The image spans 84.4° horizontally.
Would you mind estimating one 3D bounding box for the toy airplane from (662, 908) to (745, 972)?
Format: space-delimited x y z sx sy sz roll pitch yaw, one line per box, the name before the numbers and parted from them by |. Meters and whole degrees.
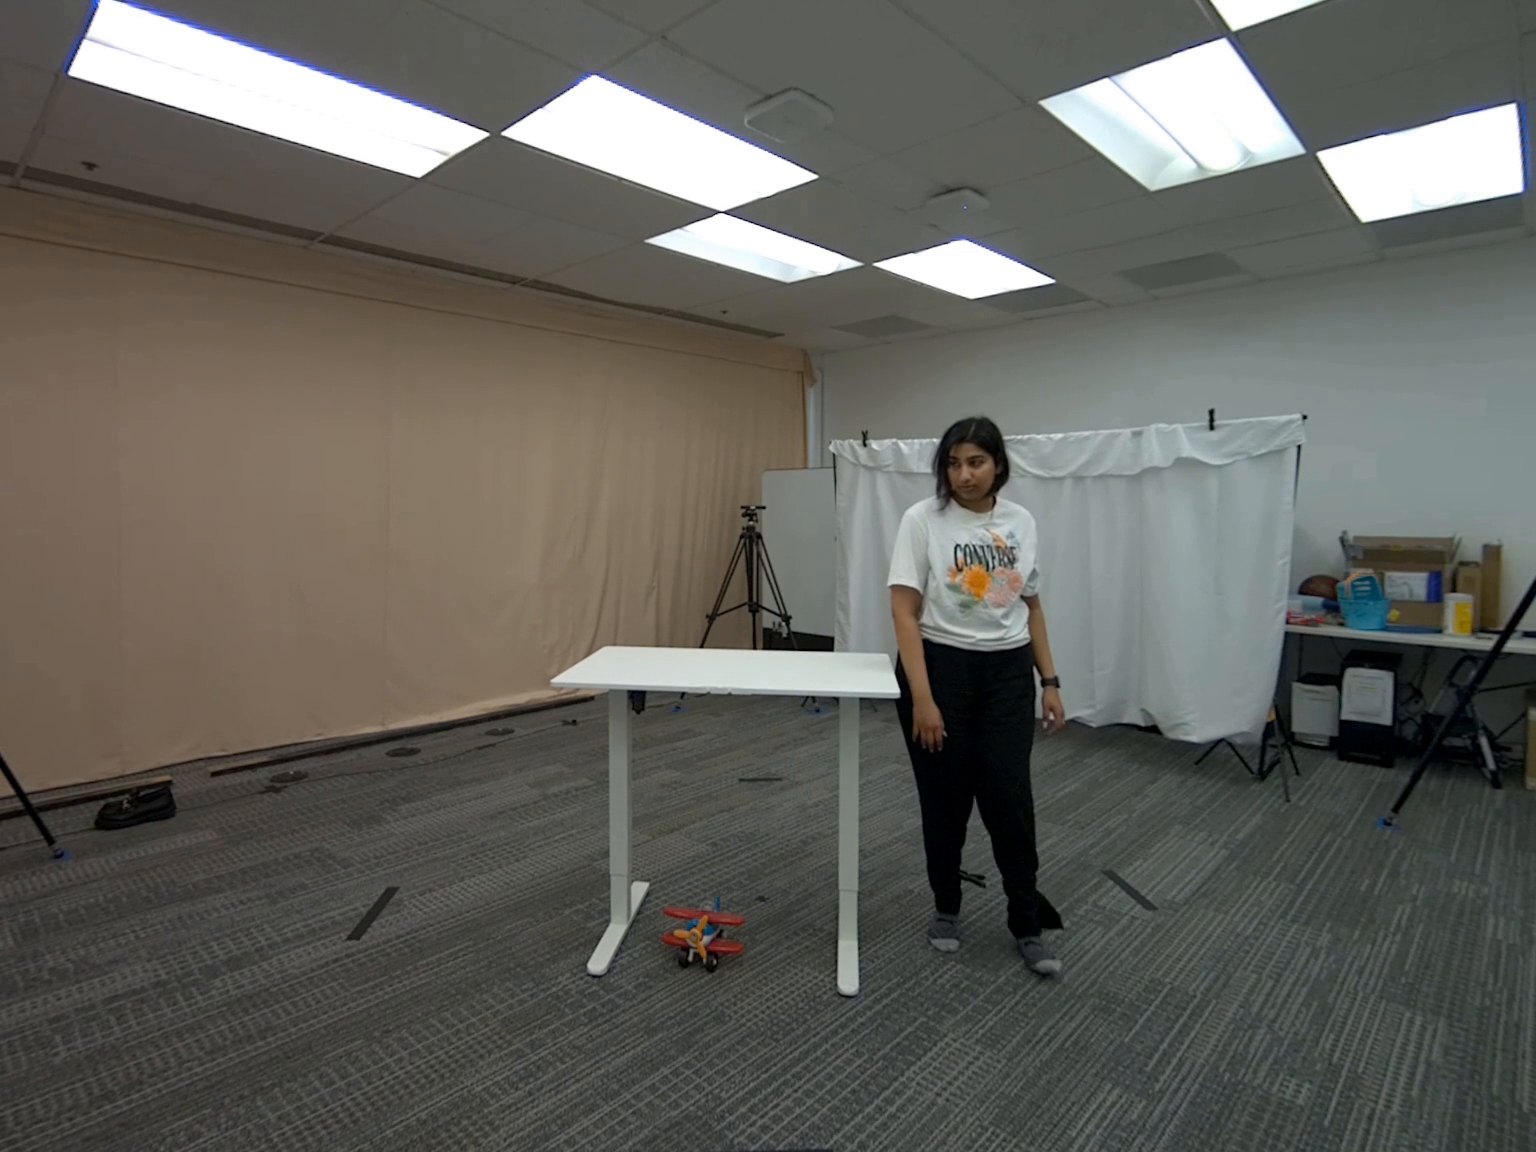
toy airplane | -0.205 1.108 2.616 0.248 0.156 0.263 -1 5 -13
